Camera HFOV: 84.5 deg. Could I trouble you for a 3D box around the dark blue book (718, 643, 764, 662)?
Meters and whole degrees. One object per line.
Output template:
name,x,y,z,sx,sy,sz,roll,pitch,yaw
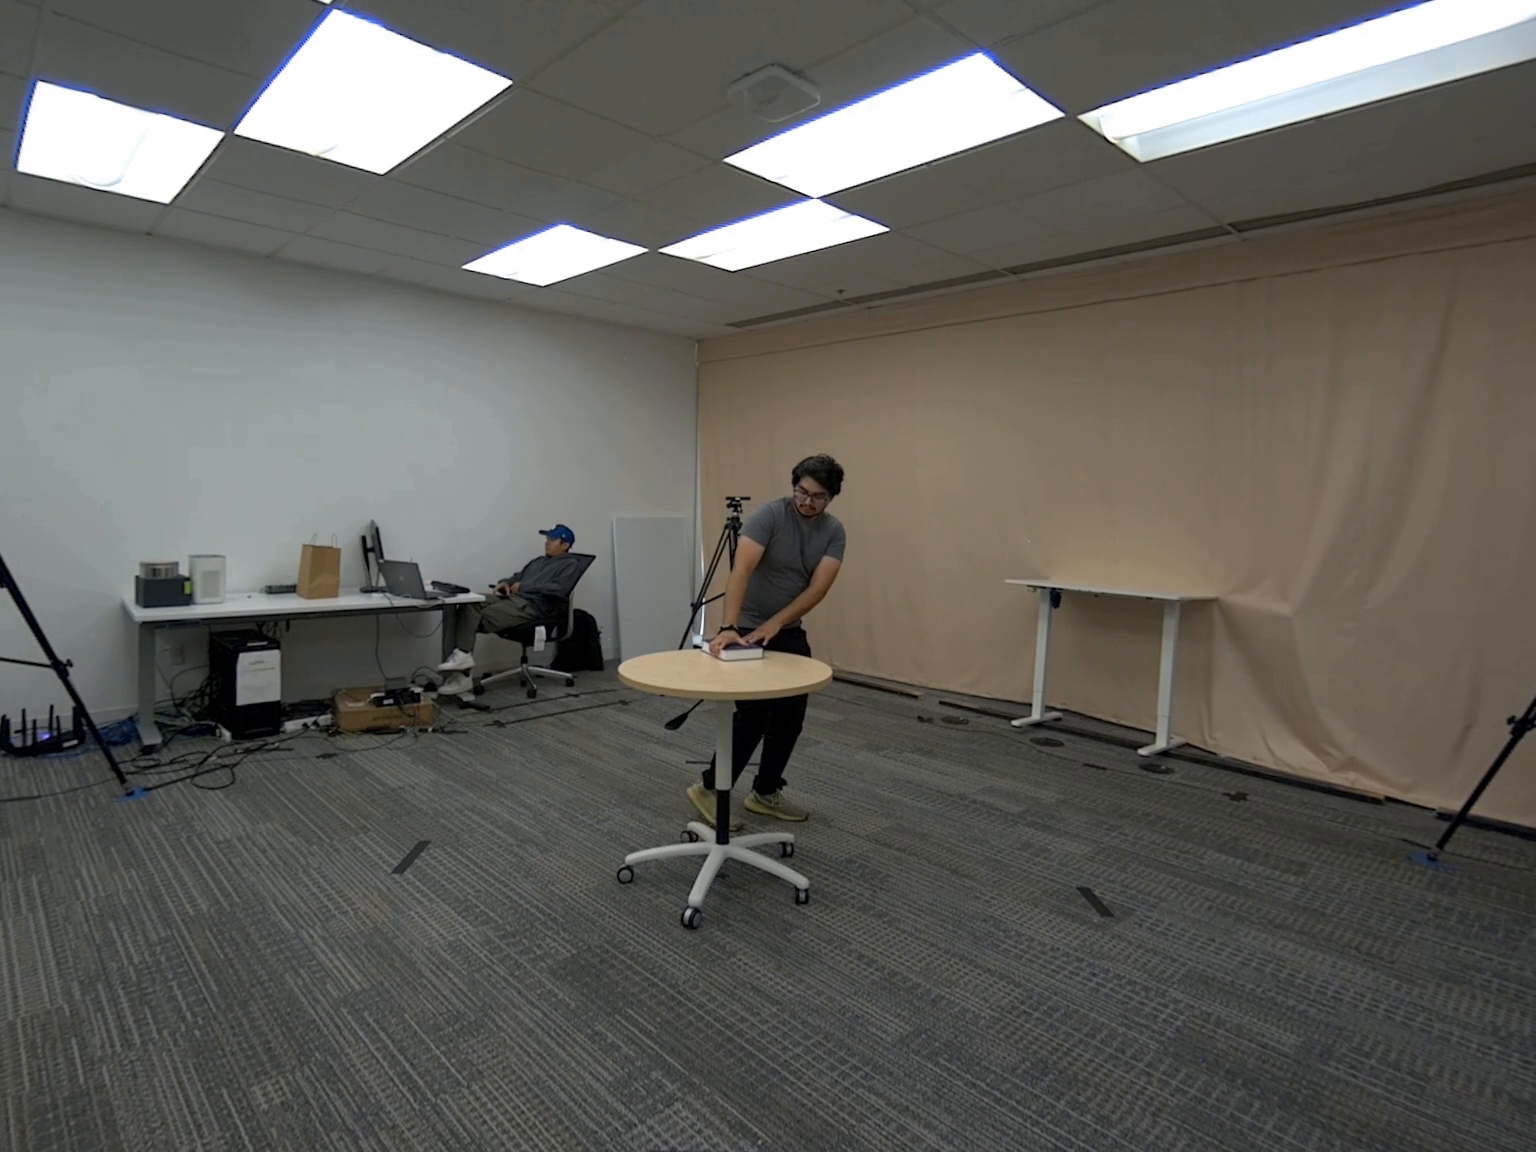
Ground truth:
dark blue book,-0.148,0.287,3.274,0.161,0.045,0.249,-1,5,-22
